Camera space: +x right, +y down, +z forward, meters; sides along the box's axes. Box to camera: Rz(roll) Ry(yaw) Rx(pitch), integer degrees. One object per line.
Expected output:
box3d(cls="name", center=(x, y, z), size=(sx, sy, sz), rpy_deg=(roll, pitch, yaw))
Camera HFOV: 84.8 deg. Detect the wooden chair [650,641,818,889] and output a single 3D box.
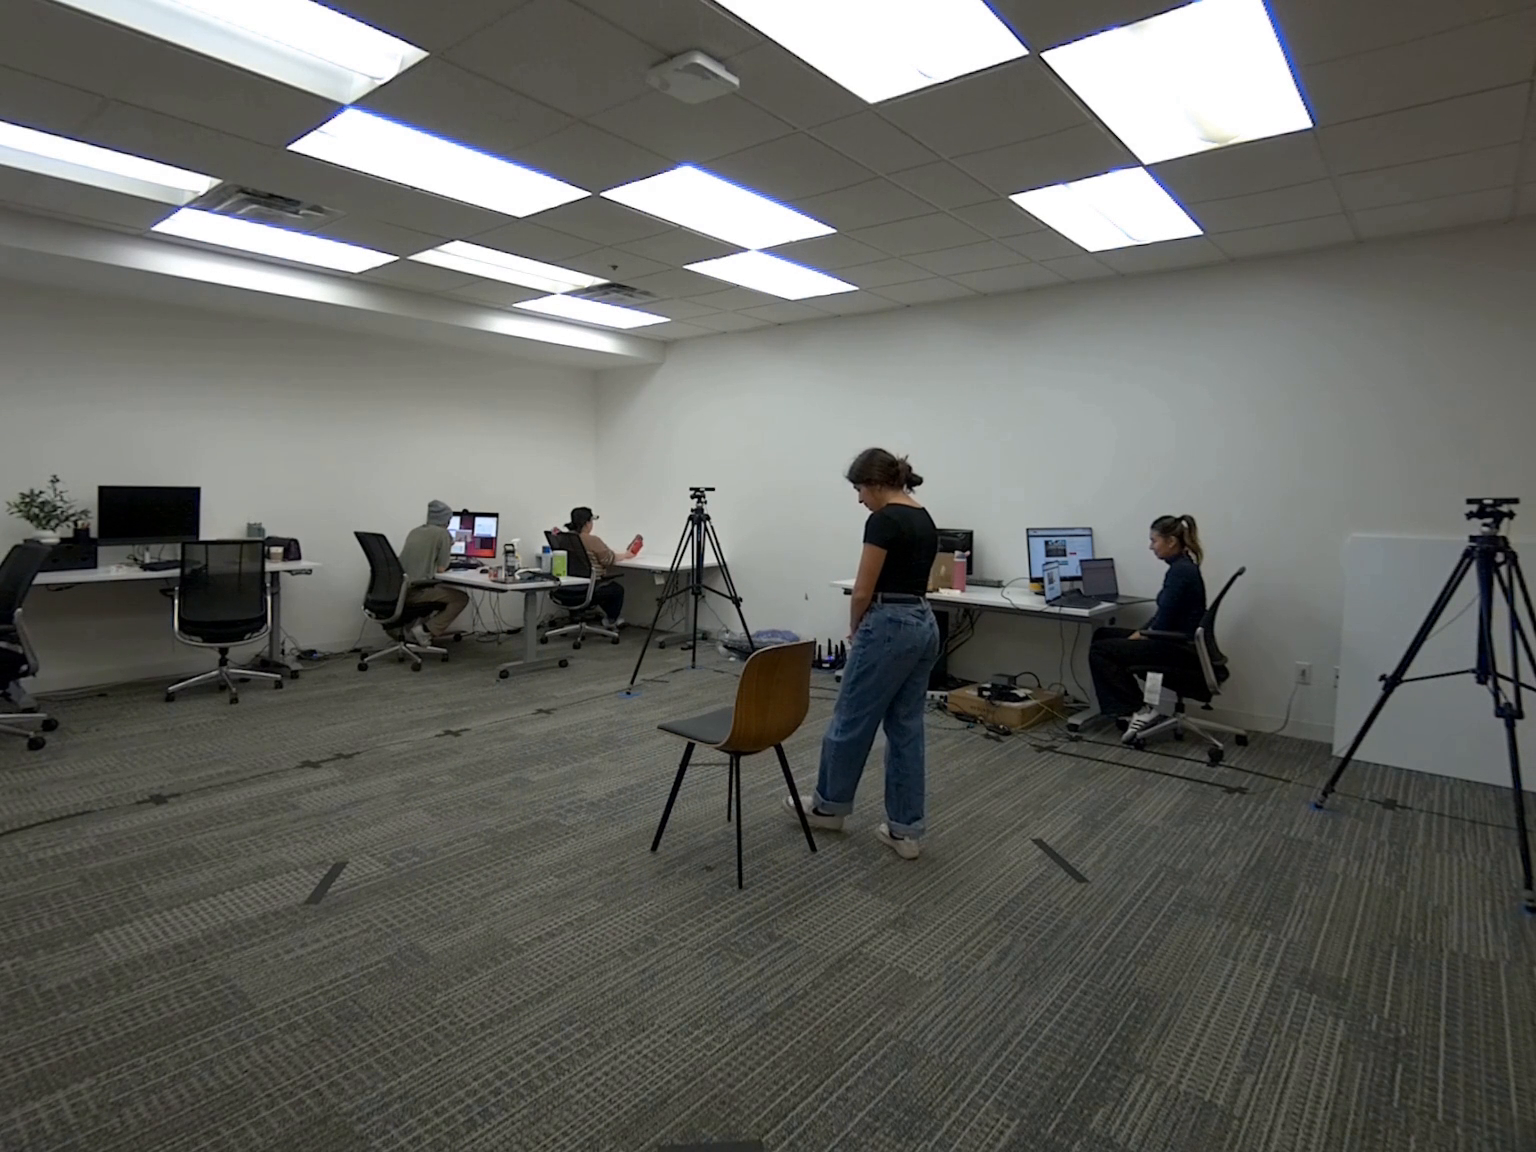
box3d(cls="wooden chair", center=(-0.140, 0.630, 3.236), size=(0.542, 0.873, 0.463), rpy_deg=(9, 7, 39))
